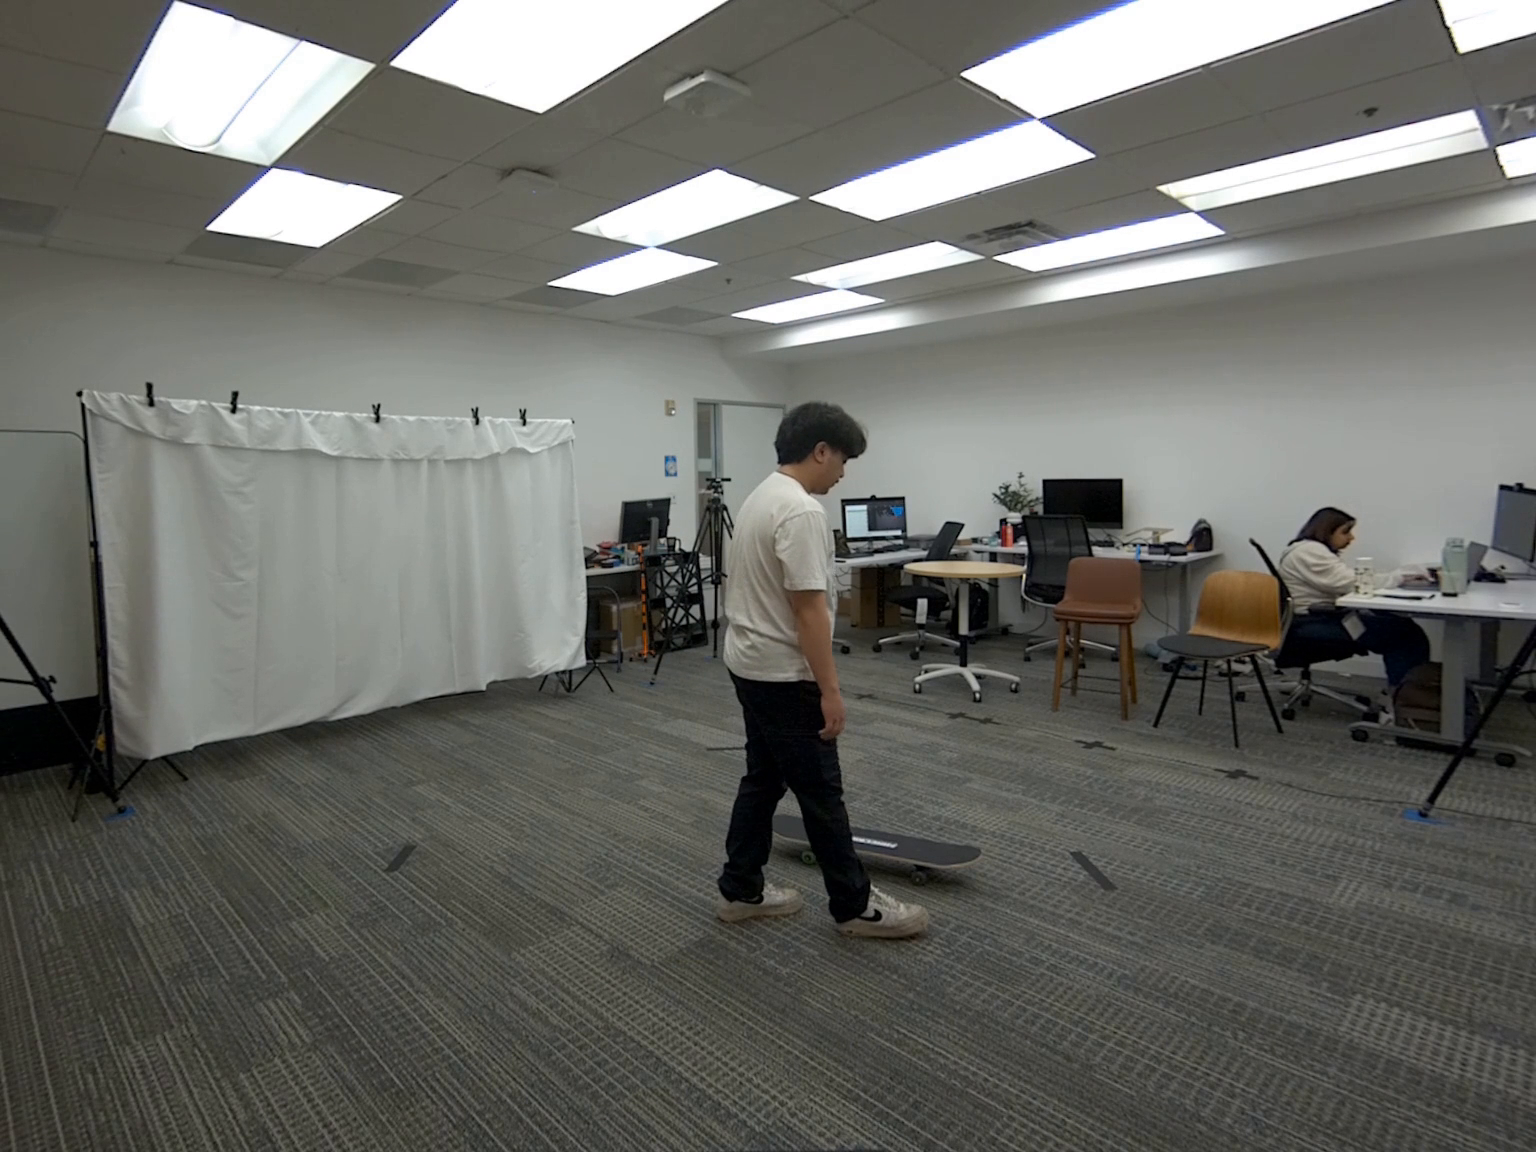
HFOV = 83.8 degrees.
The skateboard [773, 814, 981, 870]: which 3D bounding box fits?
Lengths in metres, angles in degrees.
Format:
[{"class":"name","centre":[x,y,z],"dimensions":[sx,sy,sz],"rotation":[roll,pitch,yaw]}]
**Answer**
[{"class":"skateboard","centre":[0.360,0.981,3.068],"dimensions":[0.804,0.110,0.190],"rotation":[2,6,26]}]
